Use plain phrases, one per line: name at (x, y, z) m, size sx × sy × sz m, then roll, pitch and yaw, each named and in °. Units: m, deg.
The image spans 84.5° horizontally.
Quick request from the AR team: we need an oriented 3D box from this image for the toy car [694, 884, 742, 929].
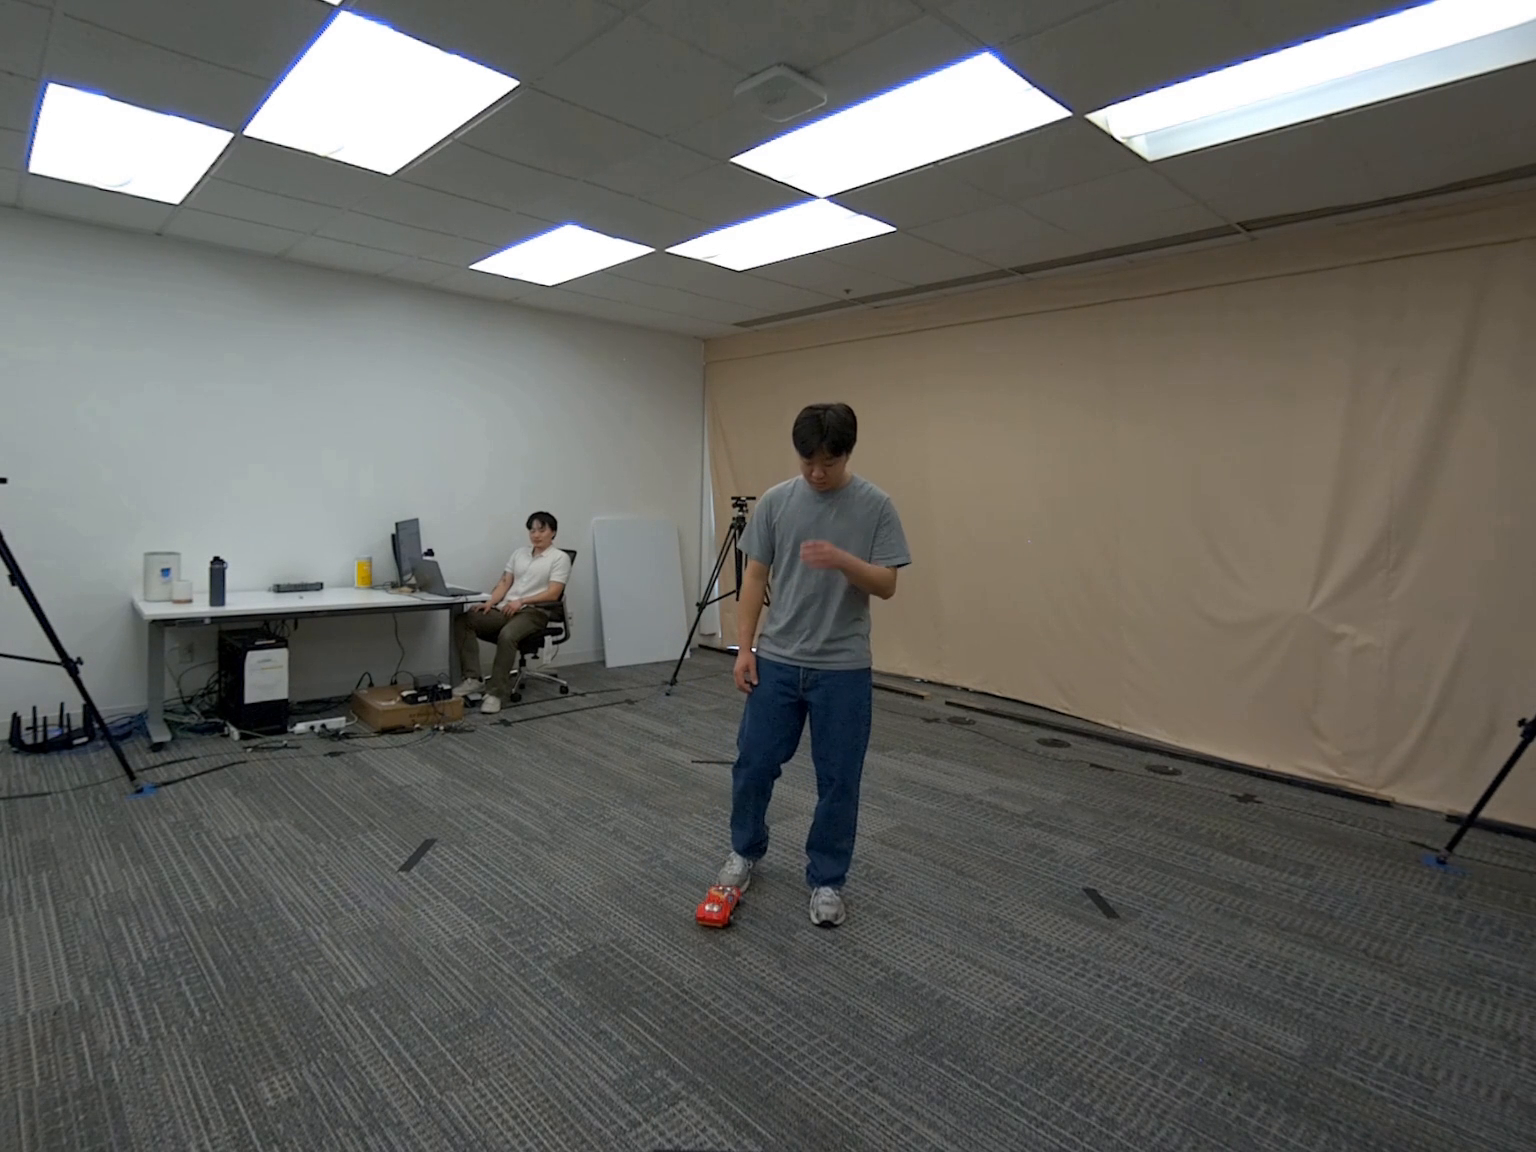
toy car at (-0.174, 1.105, 2.771) m, size 0.132 × 0.083 × 0.250 m, roll 3°, pitch -6°, yaw 13°
